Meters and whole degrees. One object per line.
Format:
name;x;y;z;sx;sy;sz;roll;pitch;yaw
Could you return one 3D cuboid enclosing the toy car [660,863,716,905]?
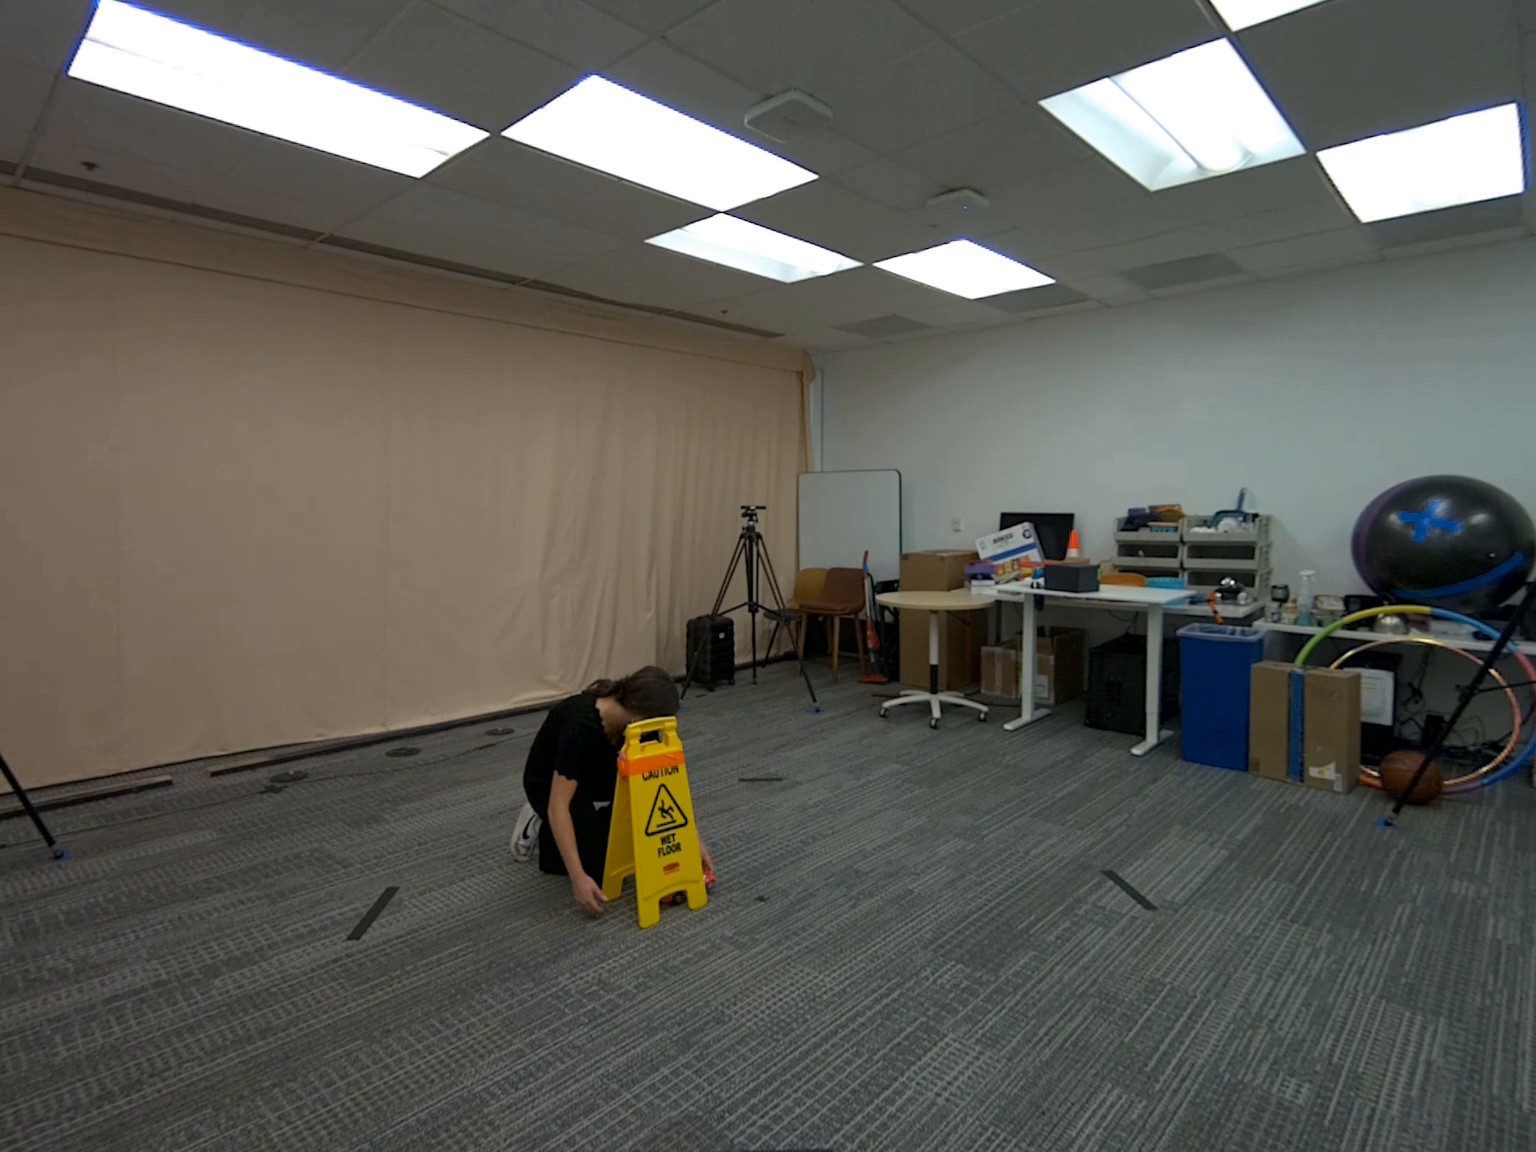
toy car;-0.315;1.112;3.018;0.246;0.083;0.134;6;0;-37
